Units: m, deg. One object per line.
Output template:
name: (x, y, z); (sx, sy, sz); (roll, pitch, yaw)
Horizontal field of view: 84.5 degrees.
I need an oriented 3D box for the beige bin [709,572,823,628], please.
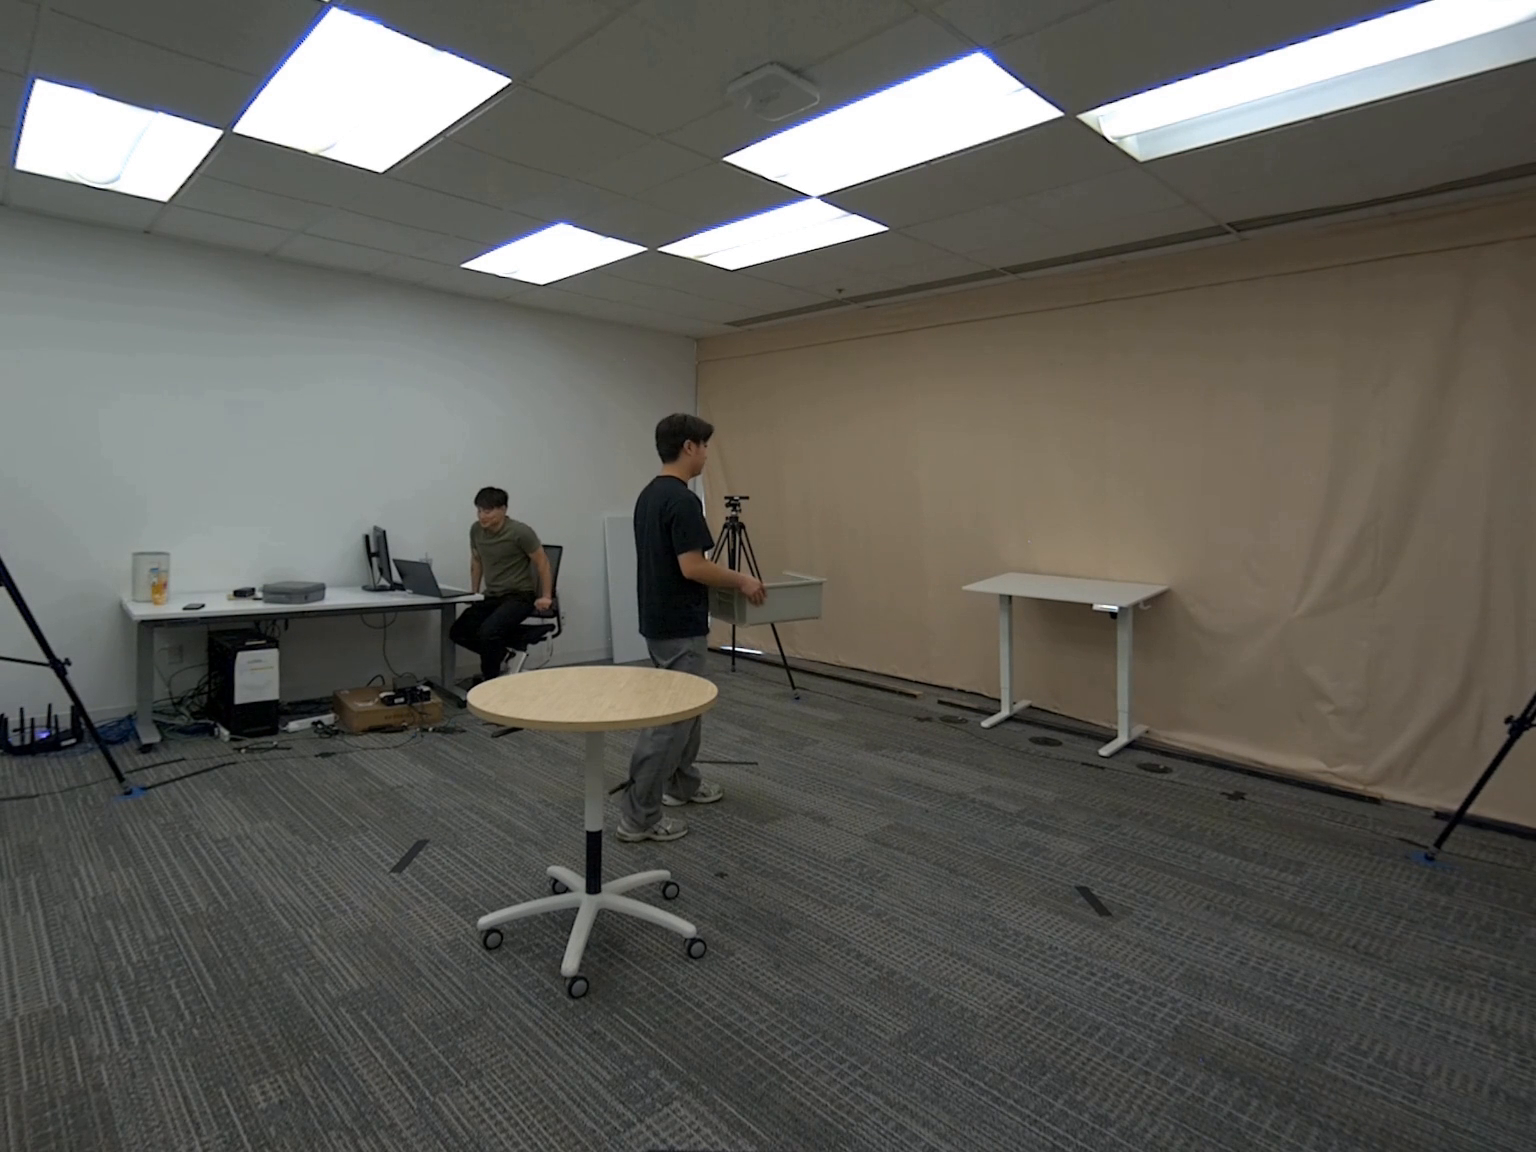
beige bin: (-0.032, 0.092, 3.760); (0.414, 0.188, 0.387); (-4, 10, -30)
